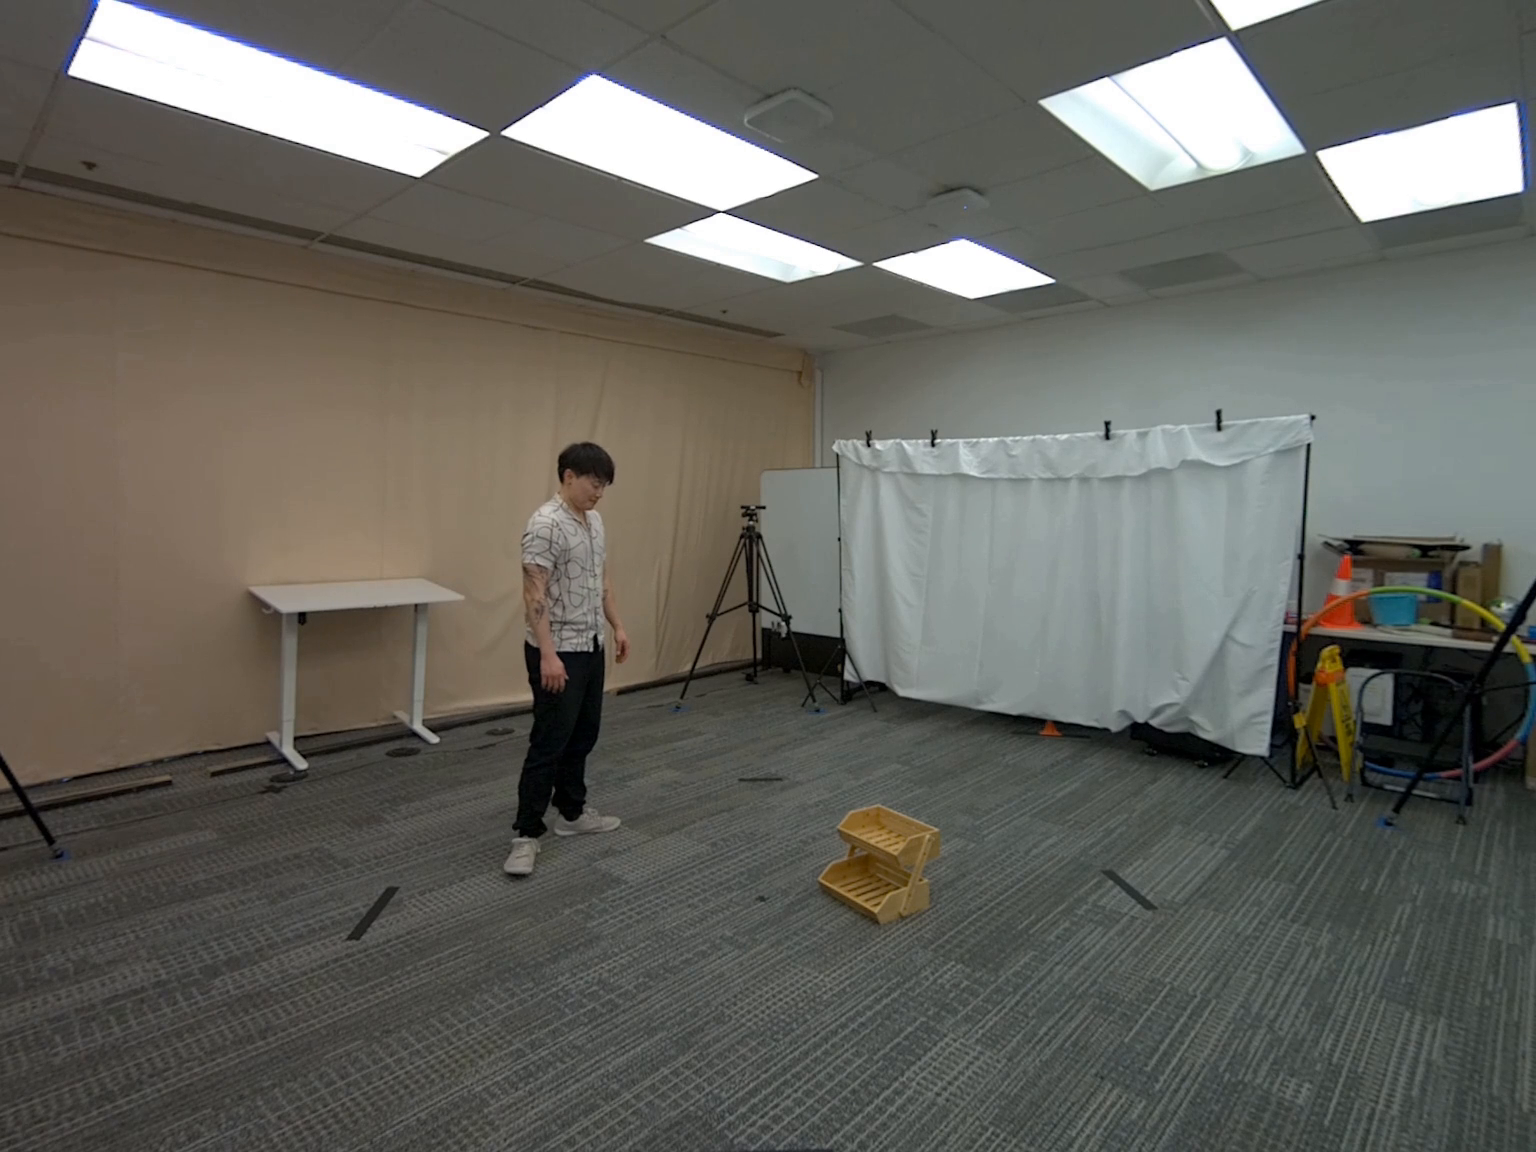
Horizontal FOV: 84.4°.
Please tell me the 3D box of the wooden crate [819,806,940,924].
[{"bbox_3d":[0.393,1.005,2.981,0.293,0.273,0.335,-2,4,-35],"label":"wooden crate"}]
